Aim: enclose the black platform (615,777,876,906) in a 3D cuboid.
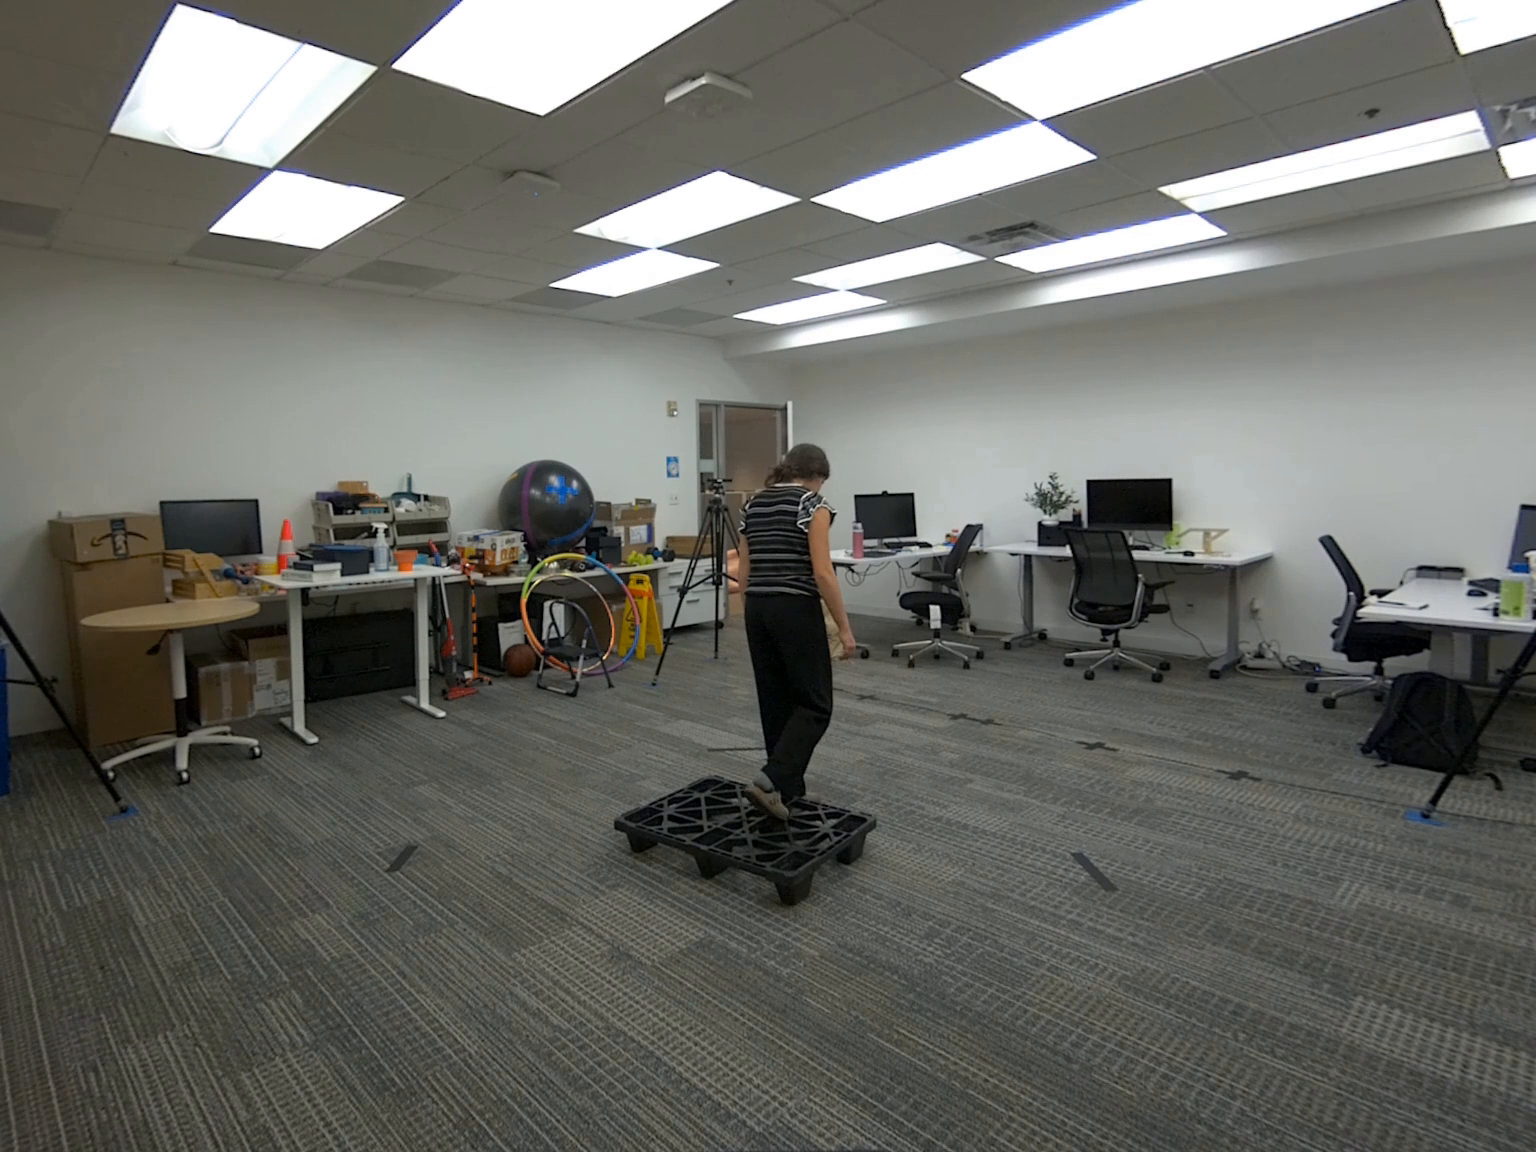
[{"bbox_3d":[-0.086,0.971,3.192,0.829,0.143,0.590,4,7,36],"label":"black platform"}]
